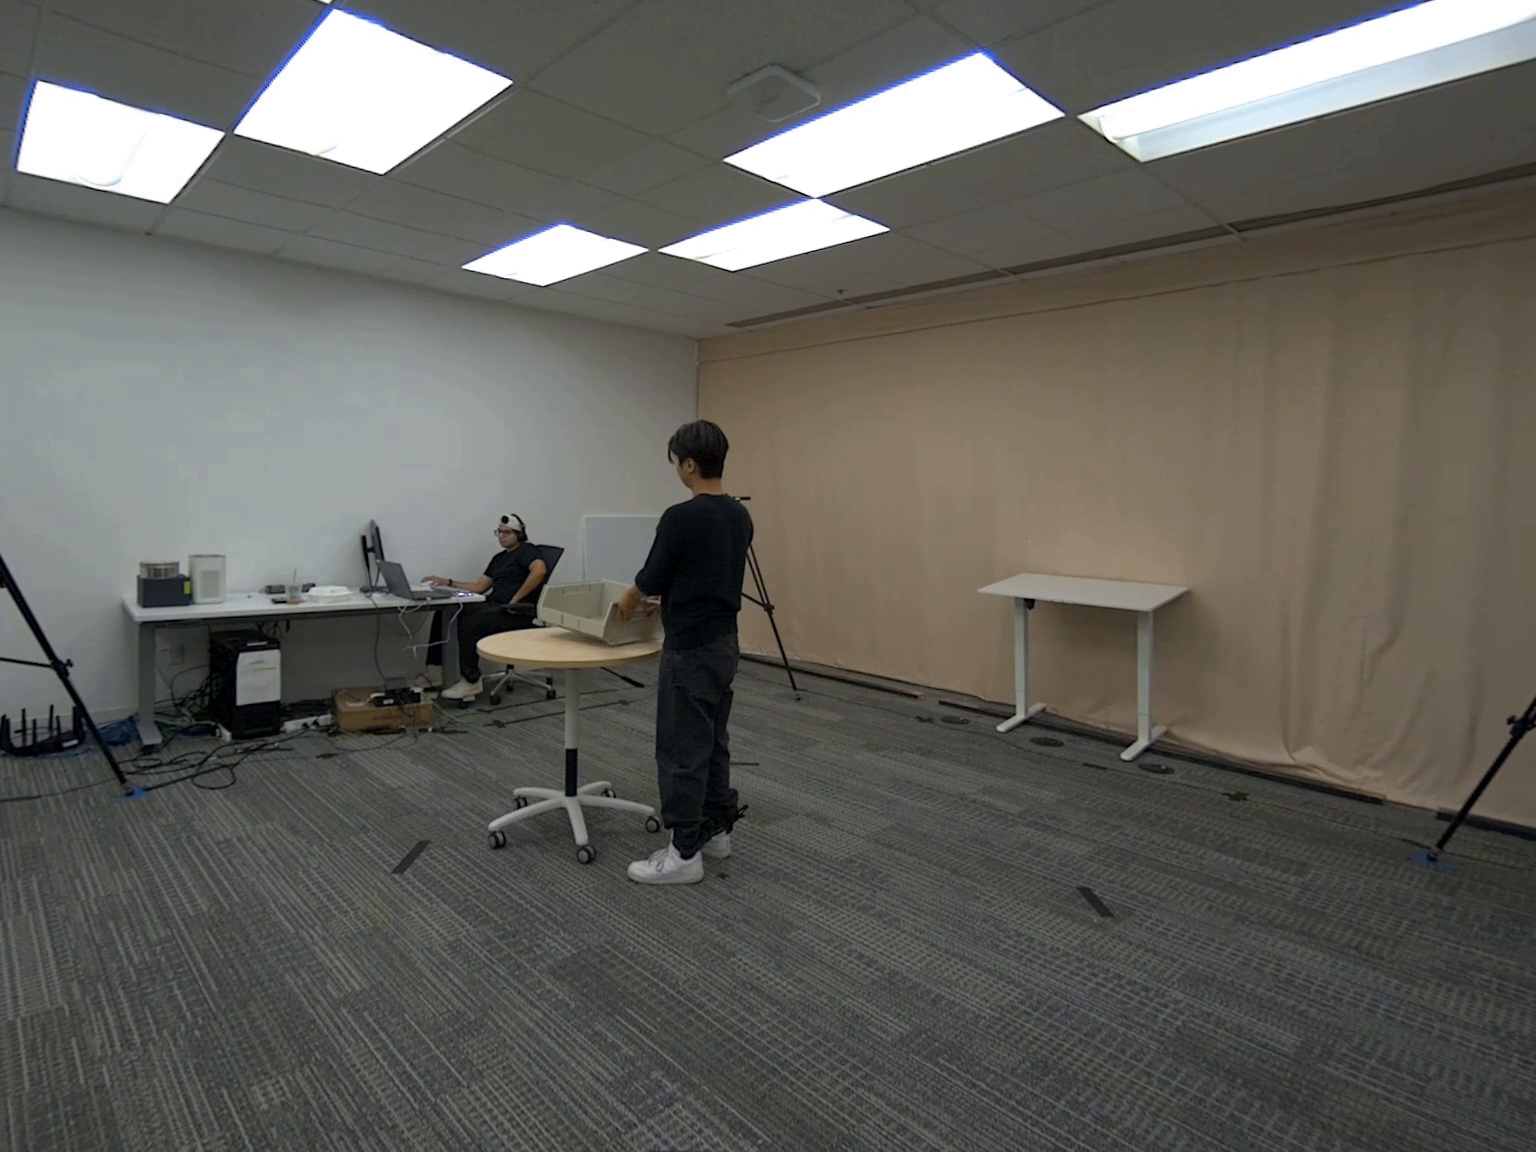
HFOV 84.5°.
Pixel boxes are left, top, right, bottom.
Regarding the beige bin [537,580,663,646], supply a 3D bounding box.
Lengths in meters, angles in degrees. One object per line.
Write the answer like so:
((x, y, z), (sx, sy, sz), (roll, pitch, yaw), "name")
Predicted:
((-0.713, 0.142, 3.596), (0.433, 0.188, 0.369), (10, 8, 35), "beige bin")
